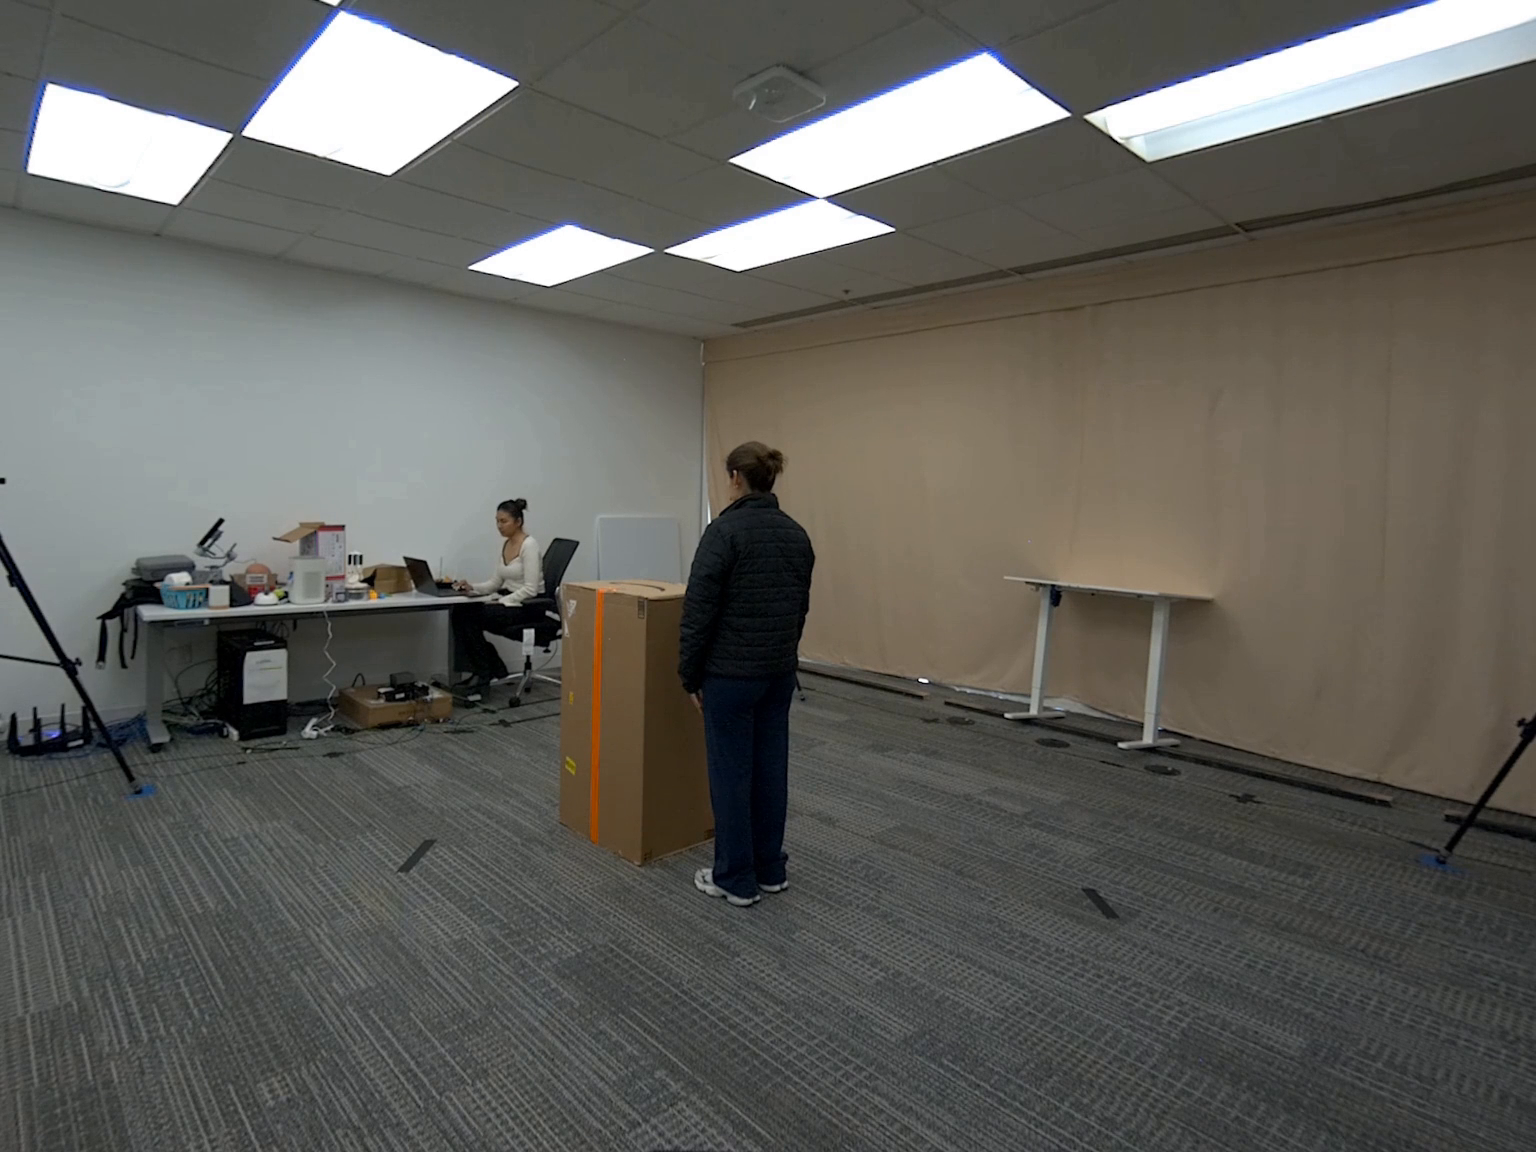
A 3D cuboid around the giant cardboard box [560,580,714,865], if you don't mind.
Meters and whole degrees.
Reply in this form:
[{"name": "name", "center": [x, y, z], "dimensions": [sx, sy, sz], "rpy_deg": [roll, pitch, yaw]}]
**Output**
[{"name": "giant cardboard box", "center": [-0.535, 0.557, 3.477], "dimensions": [0.416, 1.023, 0.592], "rpy_deg": [-2, 5, -44]}]
